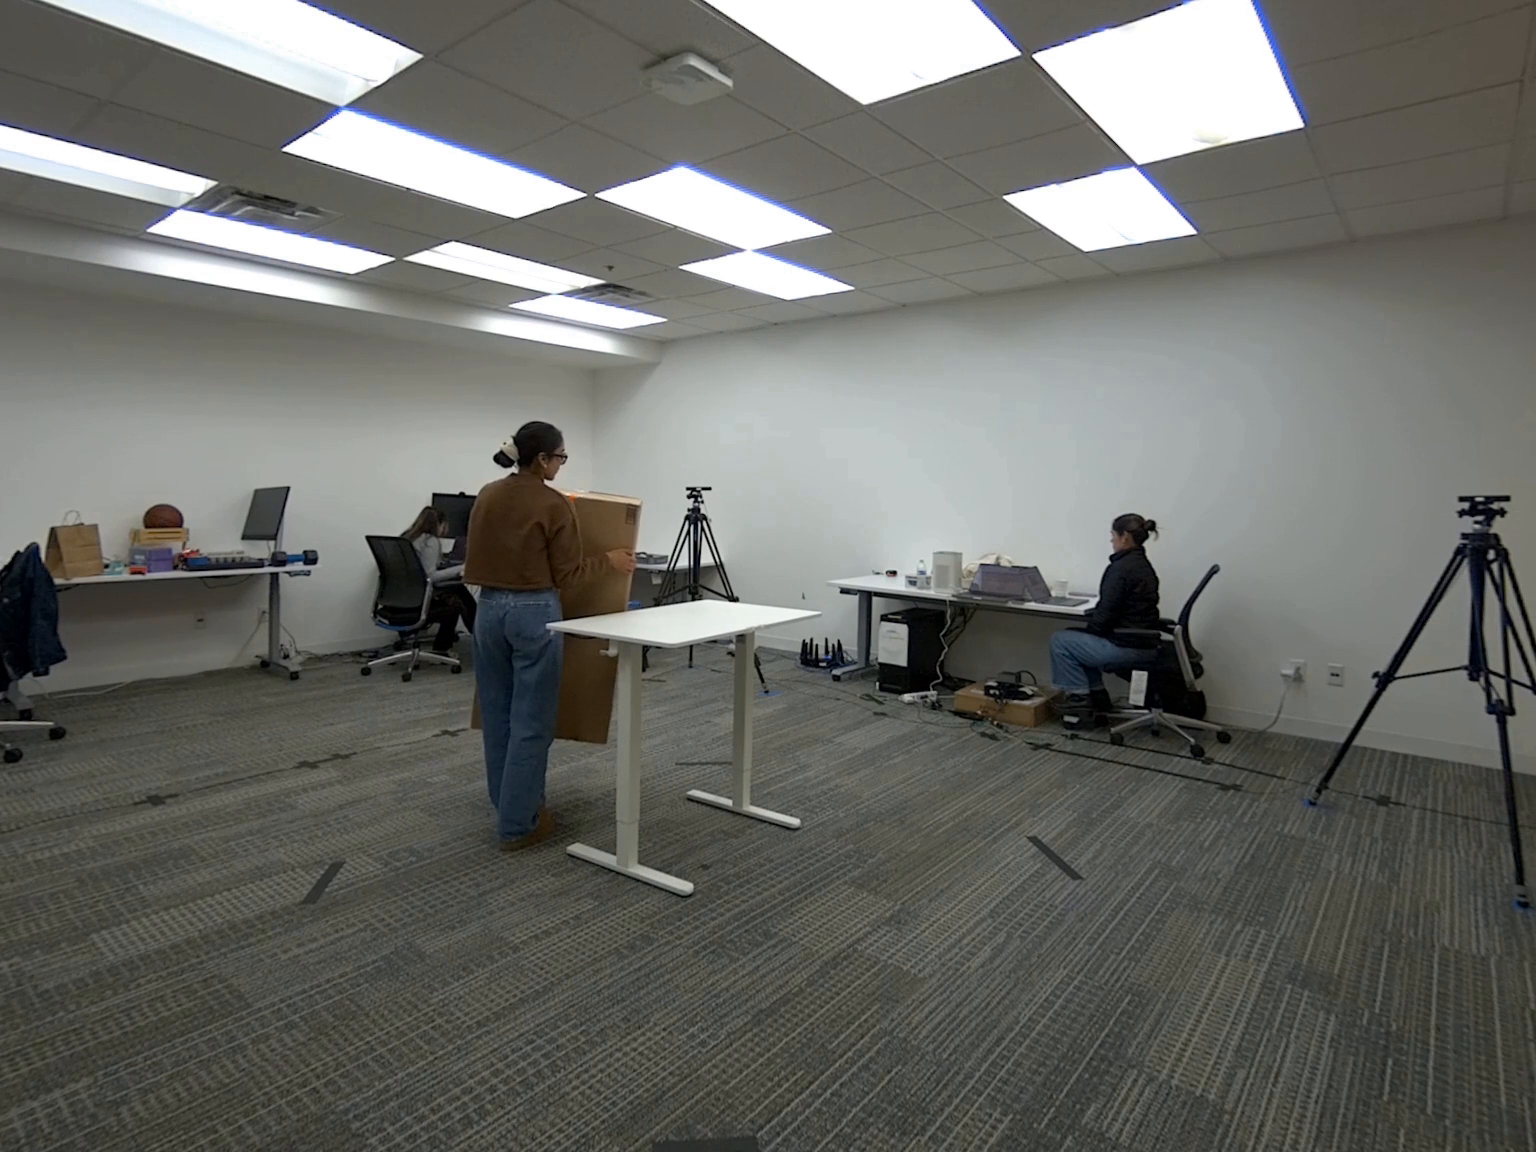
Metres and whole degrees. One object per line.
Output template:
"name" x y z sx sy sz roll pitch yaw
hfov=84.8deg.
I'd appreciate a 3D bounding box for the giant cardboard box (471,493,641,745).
"giant cardboard box" -0.926 0.141 3.729 0.575 1.021 0.430 8 5 -5
